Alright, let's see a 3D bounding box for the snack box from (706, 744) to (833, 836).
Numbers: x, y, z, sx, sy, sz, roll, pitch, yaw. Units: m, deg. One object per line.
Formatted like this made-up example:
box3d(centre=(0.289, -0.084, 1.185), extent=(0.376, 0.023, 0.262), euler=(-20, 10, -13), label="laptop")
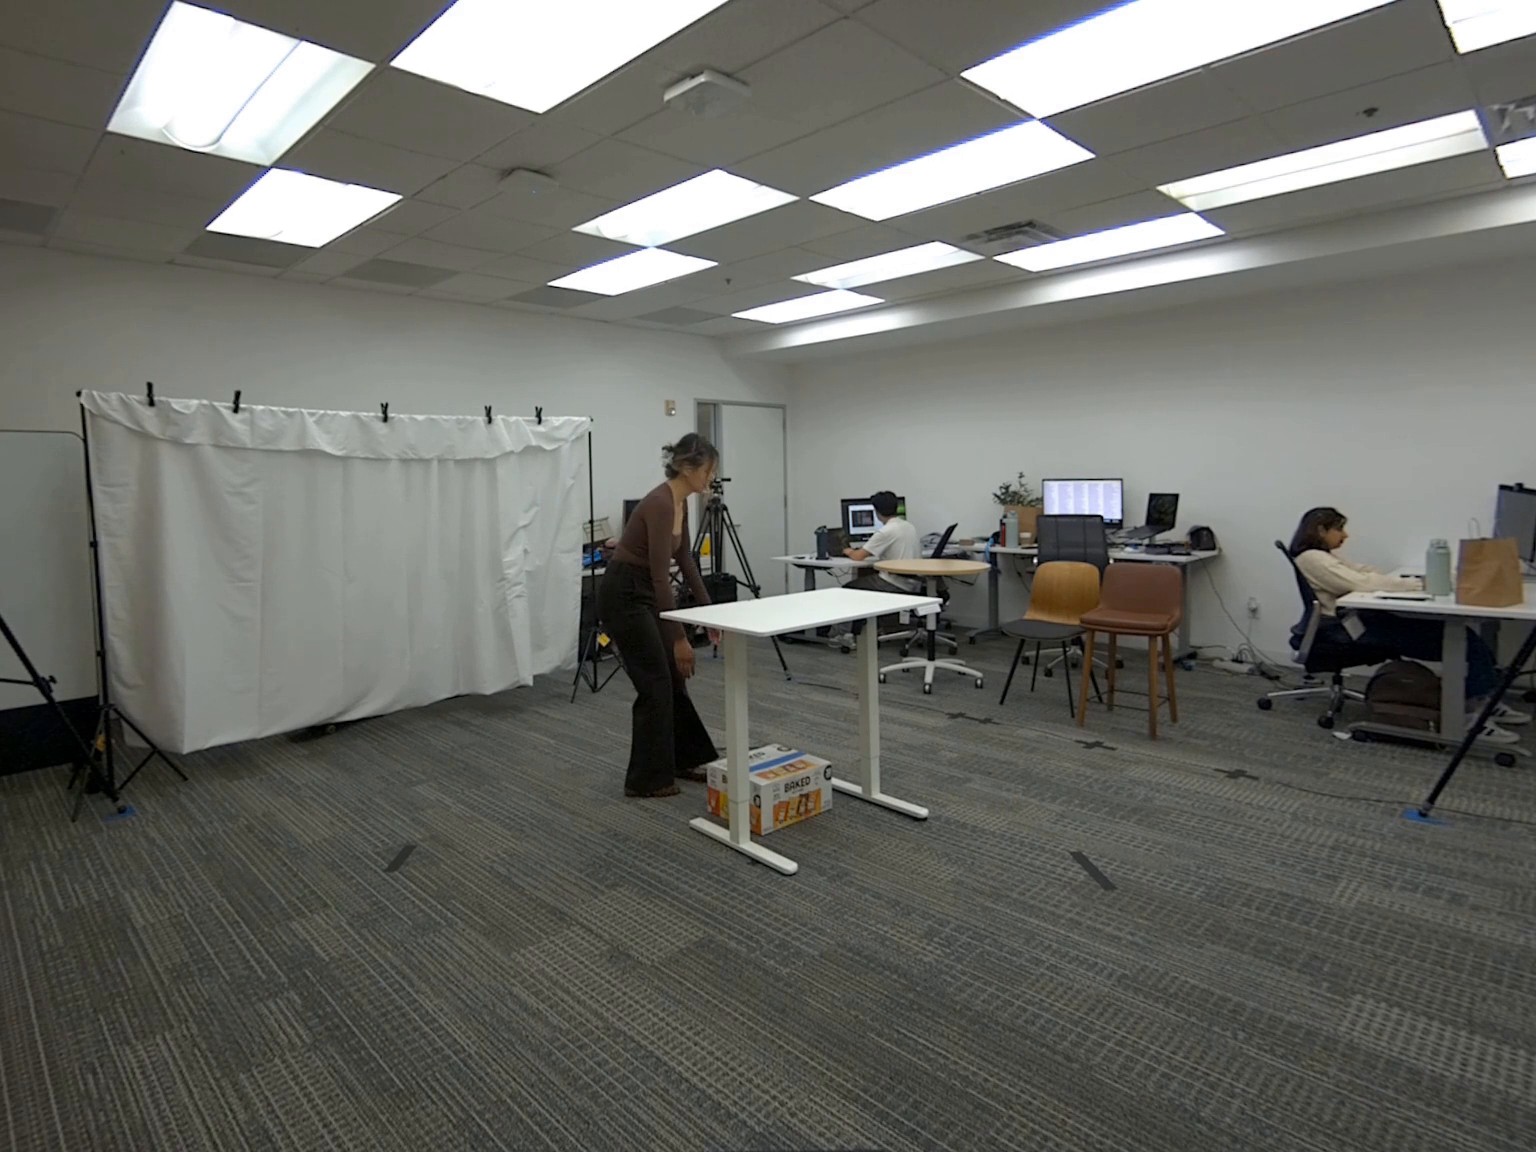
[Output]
box3d(centre=(0.007, 0.886, 3.586), extent=(0.394, 0.205, 0.351), euler=(-6, 8, -41), label="snack box")
